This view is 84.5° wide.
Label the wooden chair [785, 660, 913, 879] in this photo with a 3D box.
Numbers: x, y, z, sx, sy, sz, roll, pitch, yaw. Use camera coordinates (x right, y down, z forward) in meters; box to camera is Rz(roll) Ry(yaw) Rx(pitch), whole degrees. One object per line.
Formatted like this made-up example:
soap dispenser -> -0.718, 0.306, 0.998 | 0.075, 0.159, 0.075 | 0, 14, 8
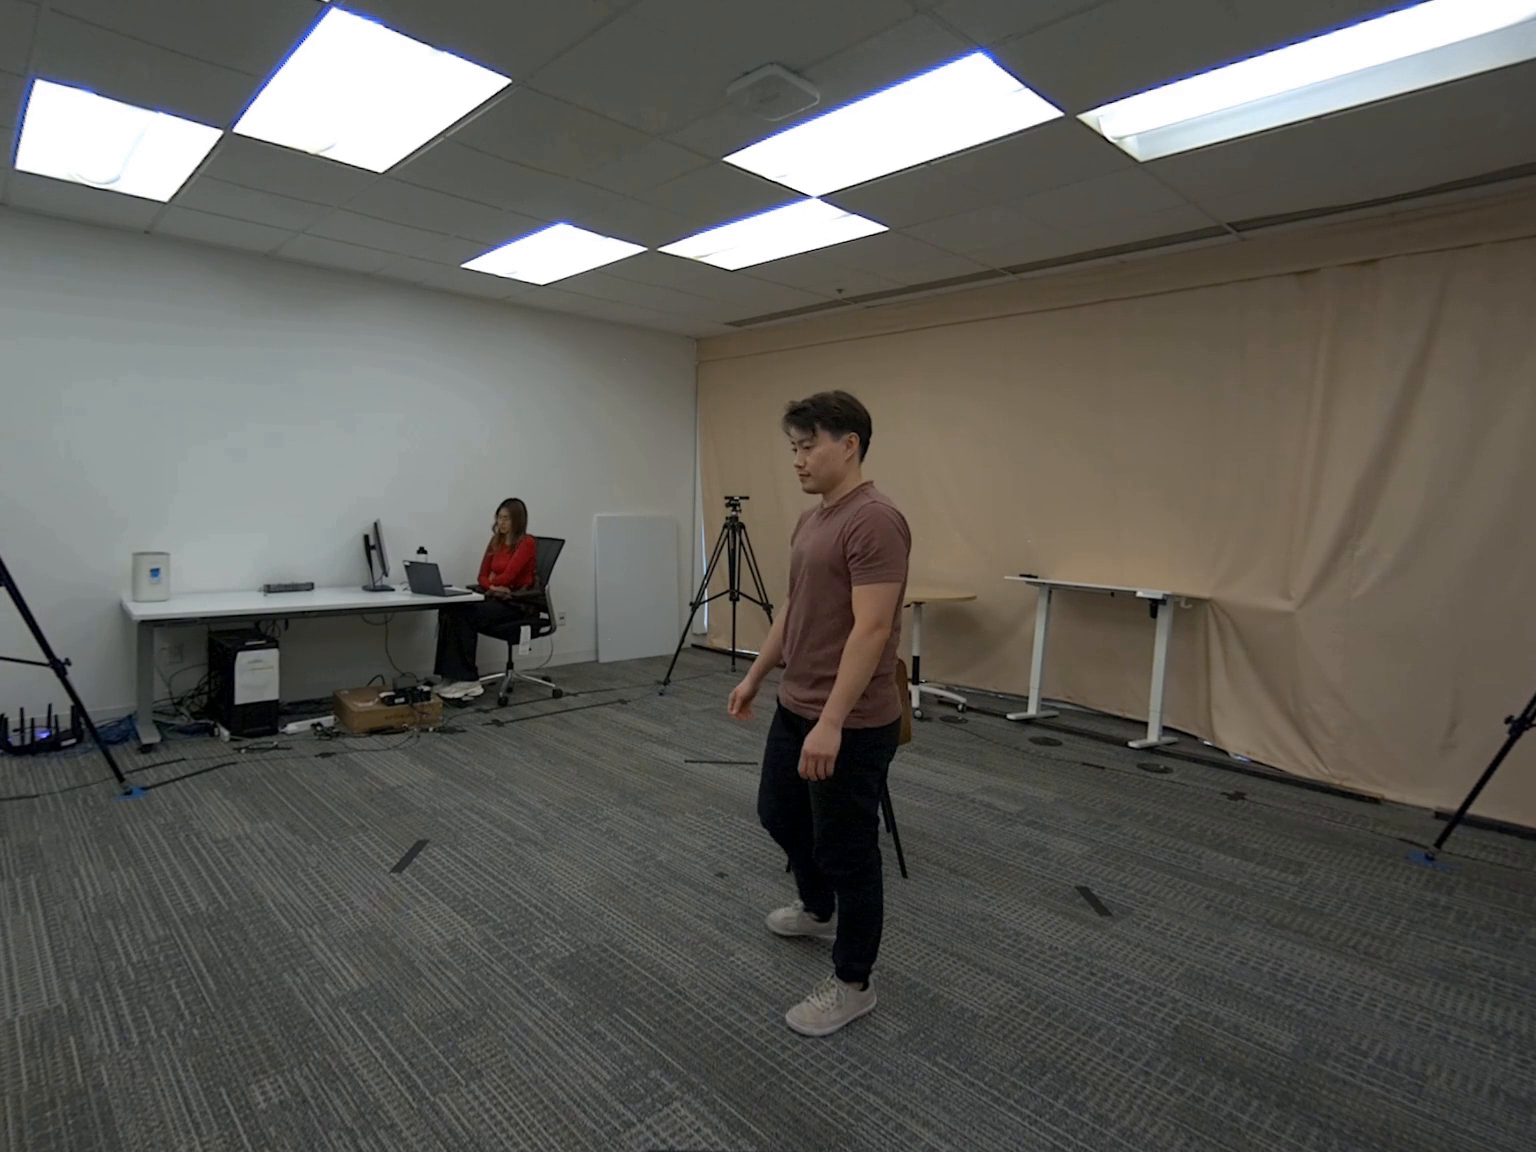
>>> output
wooden chair -> 0.294, 0.671, 3.326 | 0.479, 0.873, 0.525 | 1, 7, 2
